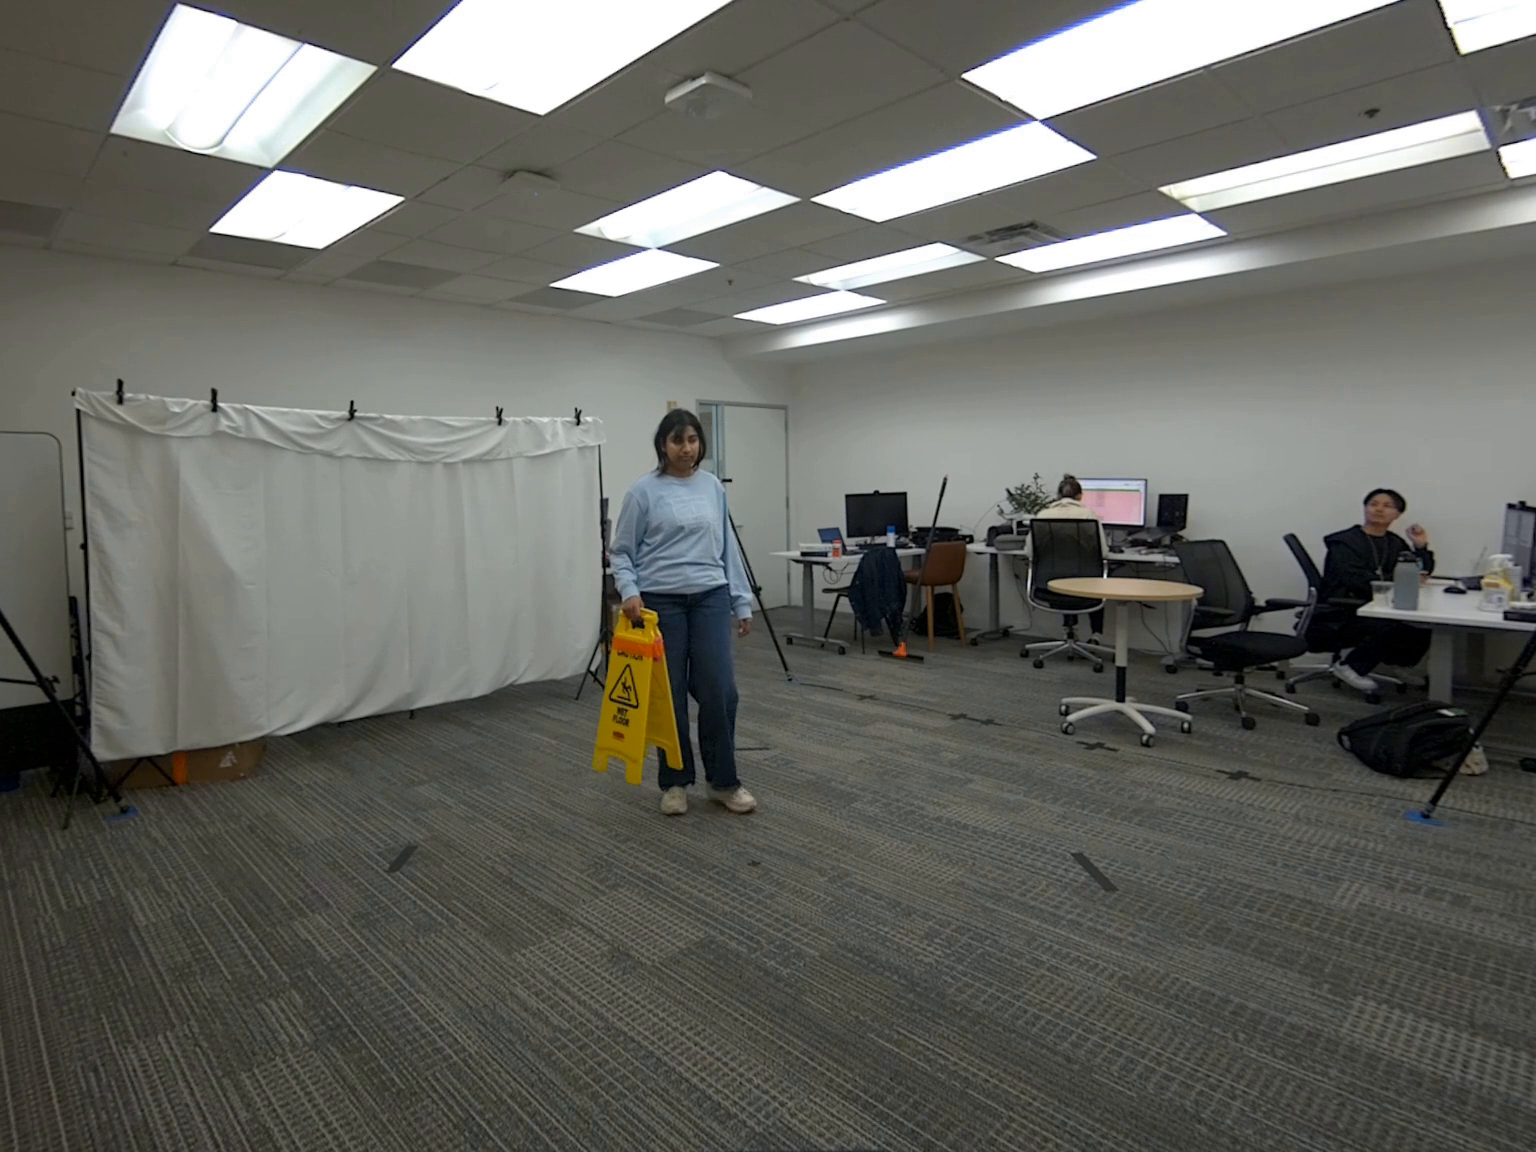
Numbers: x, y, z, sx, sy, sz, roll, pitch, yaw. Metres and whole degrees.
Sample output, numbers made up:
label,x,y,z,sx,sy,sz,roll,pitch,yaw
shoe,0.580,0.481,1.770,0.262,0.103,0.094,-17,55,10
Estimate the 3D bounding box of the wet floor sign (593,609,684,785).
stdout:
label,x,y,z,sx,sy,sz,roll,pitch,yaw
wet floor sign,-0.515,0.455,3.406,0.291,0.643,0.282,6,7,40
